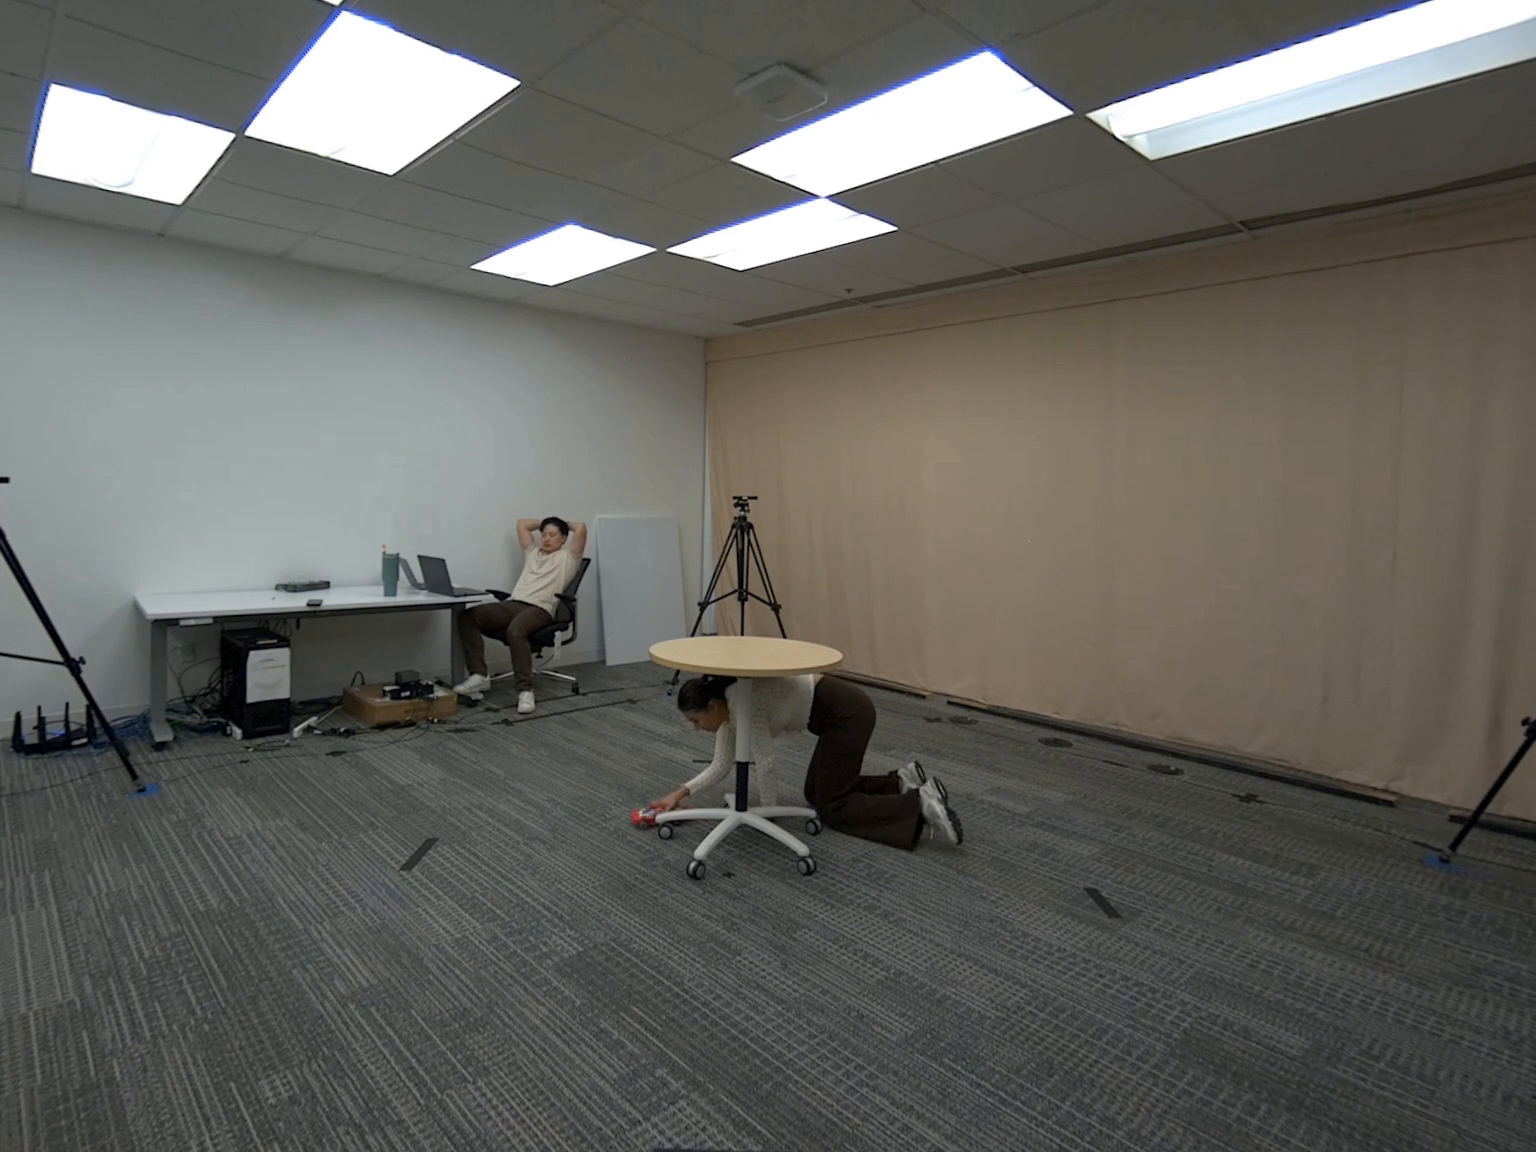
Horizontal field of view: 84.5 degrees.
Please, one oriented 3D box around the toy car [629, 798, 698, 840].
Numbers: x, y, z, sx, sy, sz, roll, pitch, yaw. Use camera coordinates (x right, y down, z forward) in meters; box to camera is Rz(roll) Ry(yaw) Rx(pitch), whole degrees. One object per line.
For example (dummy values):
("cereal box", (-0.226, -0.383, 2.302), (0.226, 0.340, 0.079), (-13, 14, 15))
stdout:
("toy car", (-0.447, 1.017, 3.585), (0.252, 0.083, 0.132), (-11, 5, -19))
